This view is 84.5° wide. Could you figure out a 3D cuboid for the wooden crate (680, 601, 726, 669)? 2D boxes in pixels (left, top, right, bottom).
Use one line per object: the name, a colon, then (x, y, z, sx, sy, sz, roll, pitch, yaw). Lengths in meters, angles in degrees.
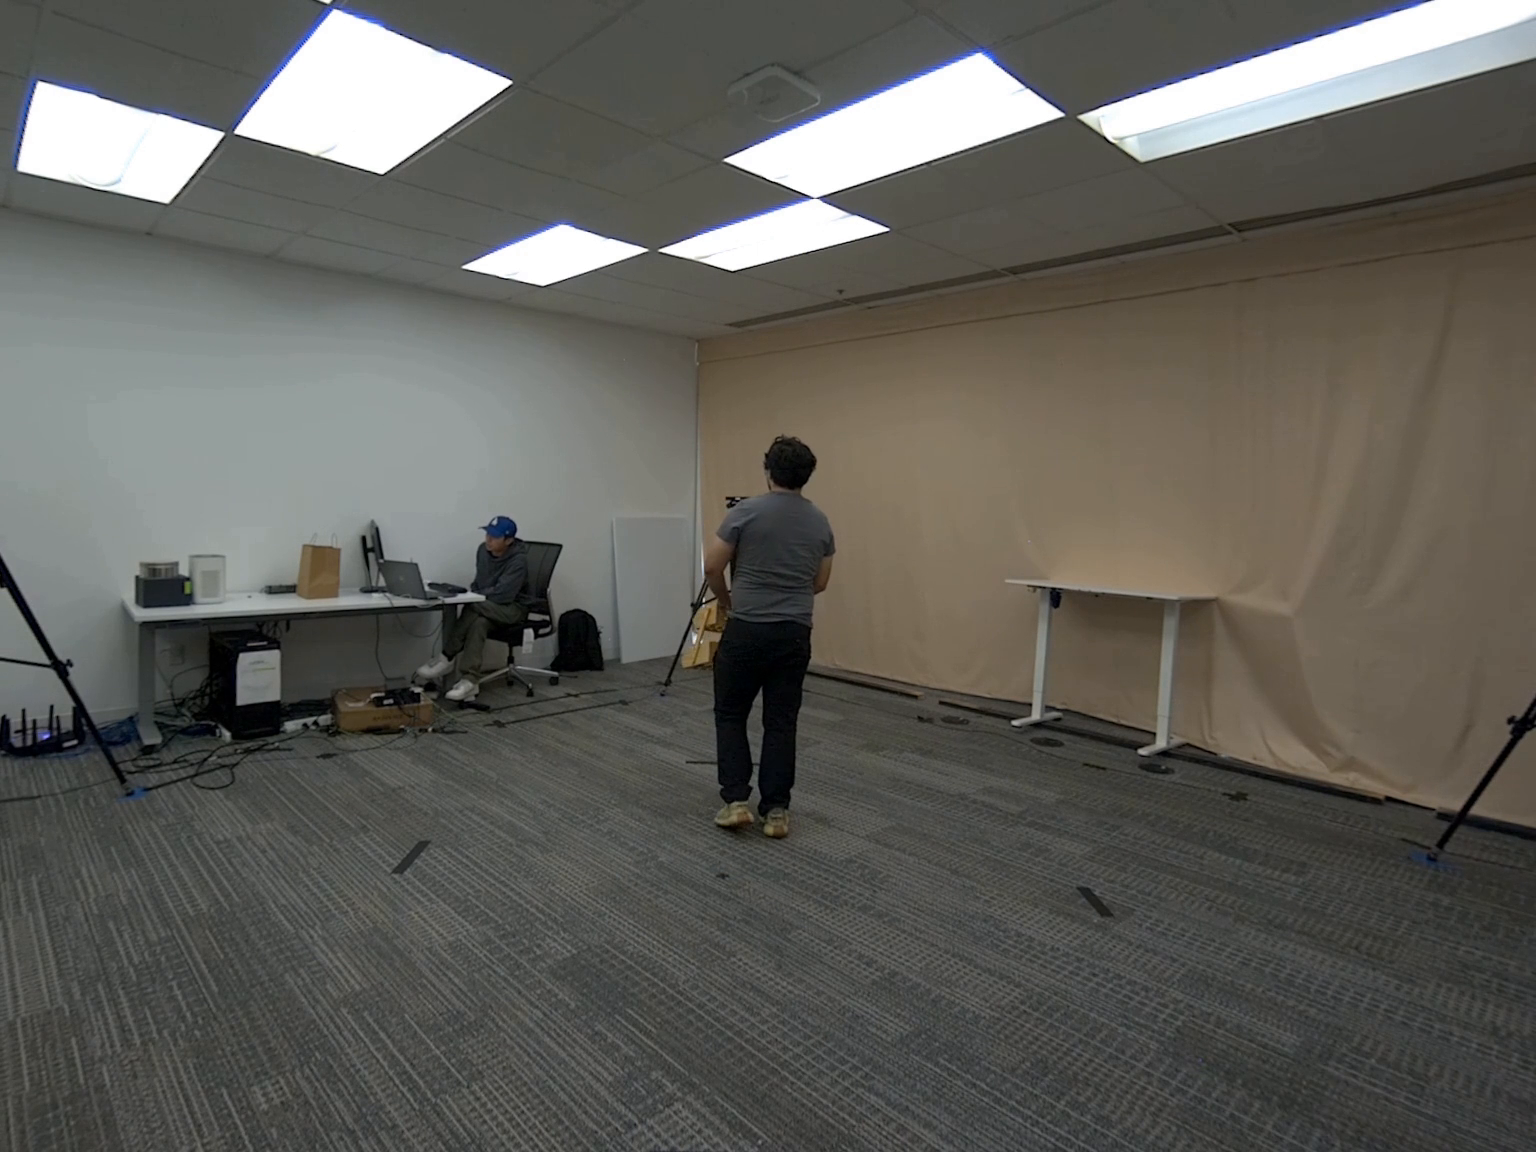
wooden crate: (-0.209, 0.297, 3.920, 0.316, 0.276, 0.306, 11, -18, -32)
